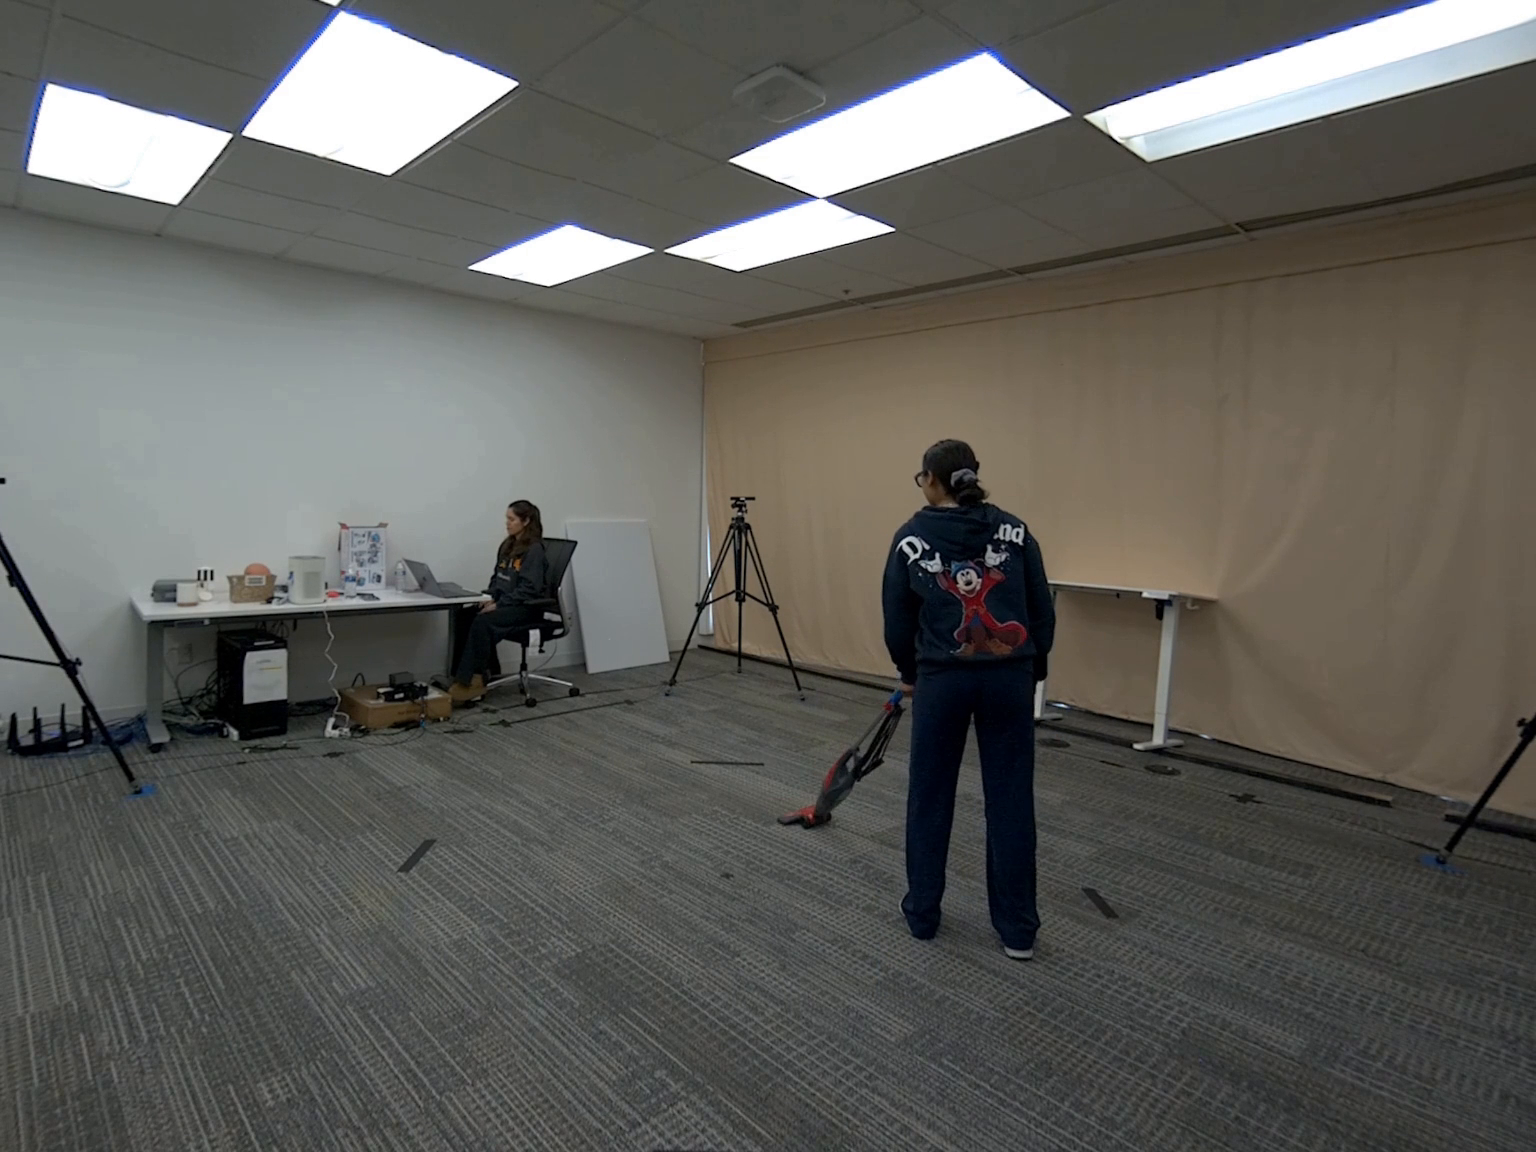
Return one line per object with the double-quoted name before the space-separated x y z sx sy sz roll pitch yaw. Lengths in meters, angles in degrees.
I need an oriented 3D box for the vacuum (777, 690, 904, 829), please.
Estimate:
"vacuum" 0.347 0.718 3.307 0.248 0.148 1.040 -5 -37 -30
